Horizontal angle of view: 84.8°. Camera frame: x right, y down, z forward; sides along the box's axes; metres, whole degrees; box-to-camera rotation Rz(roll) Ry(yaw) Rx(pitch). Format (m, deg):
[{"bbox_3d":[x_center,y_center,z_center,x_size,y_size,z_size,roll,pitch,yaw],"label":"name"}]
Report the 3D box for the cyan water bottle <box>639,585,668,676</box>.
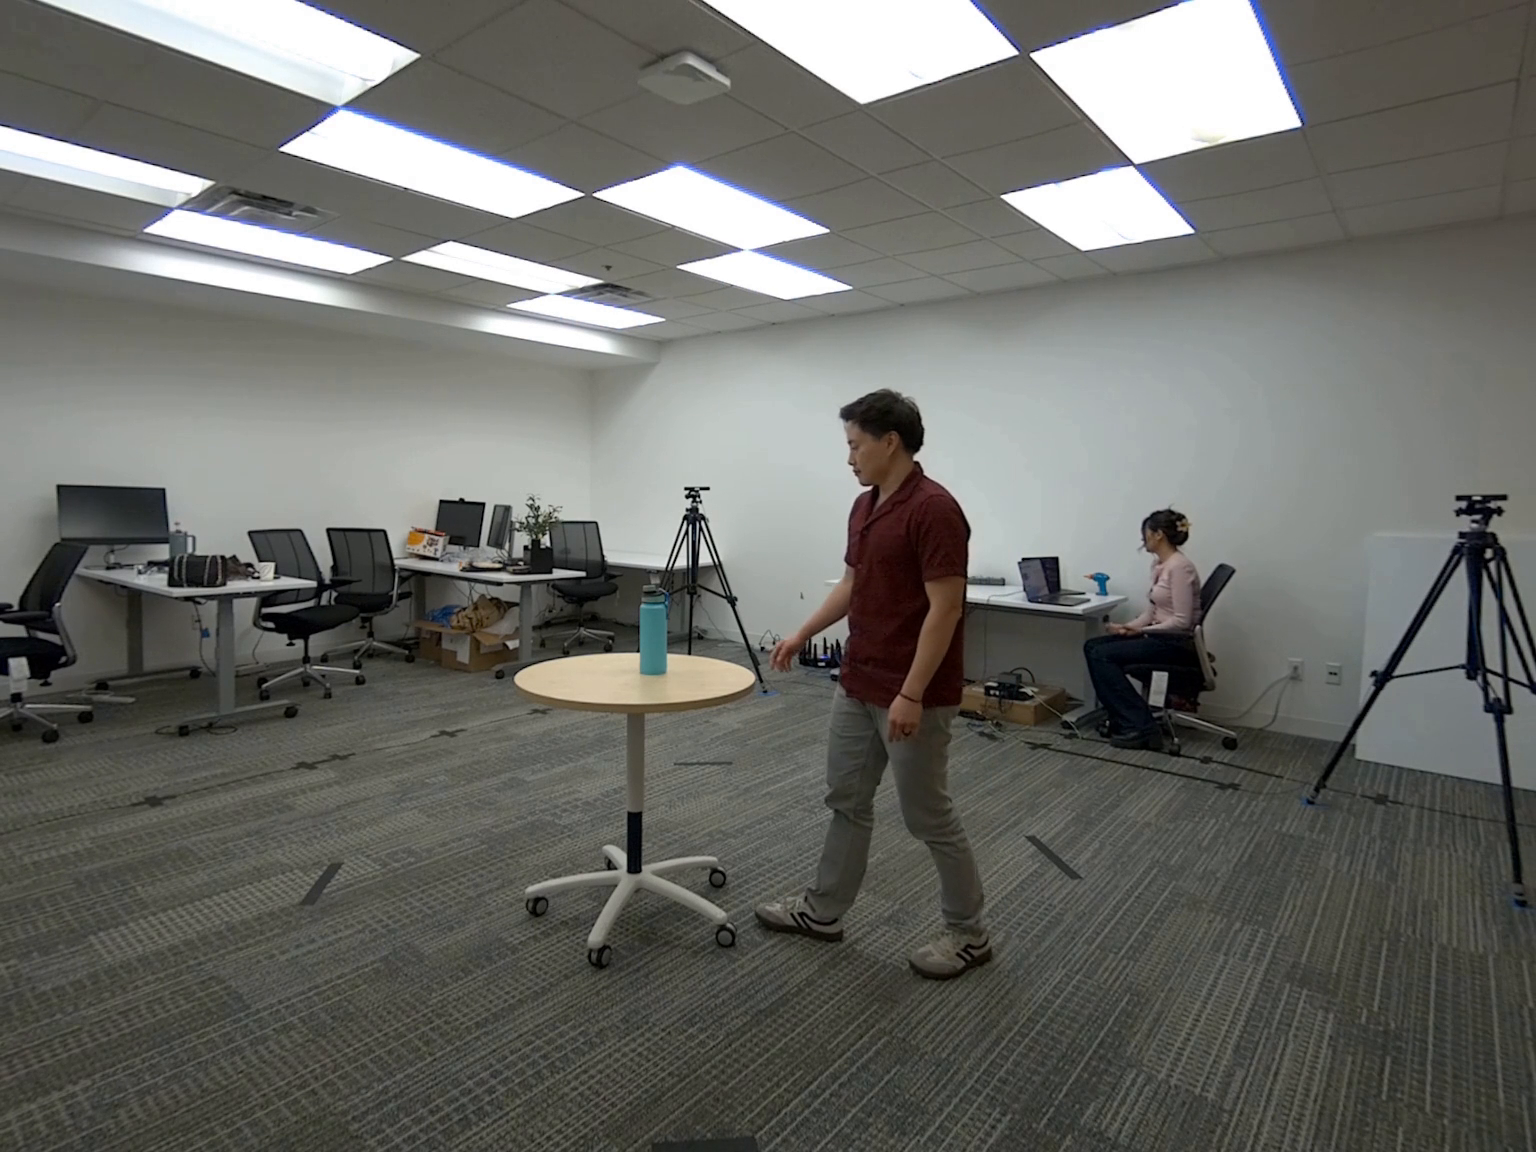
[{"bbox_3d":[-0.385,0.175,2.776,0.092,0.283,0.092,3,2,-2],"label":"cyan water bottle"}]
